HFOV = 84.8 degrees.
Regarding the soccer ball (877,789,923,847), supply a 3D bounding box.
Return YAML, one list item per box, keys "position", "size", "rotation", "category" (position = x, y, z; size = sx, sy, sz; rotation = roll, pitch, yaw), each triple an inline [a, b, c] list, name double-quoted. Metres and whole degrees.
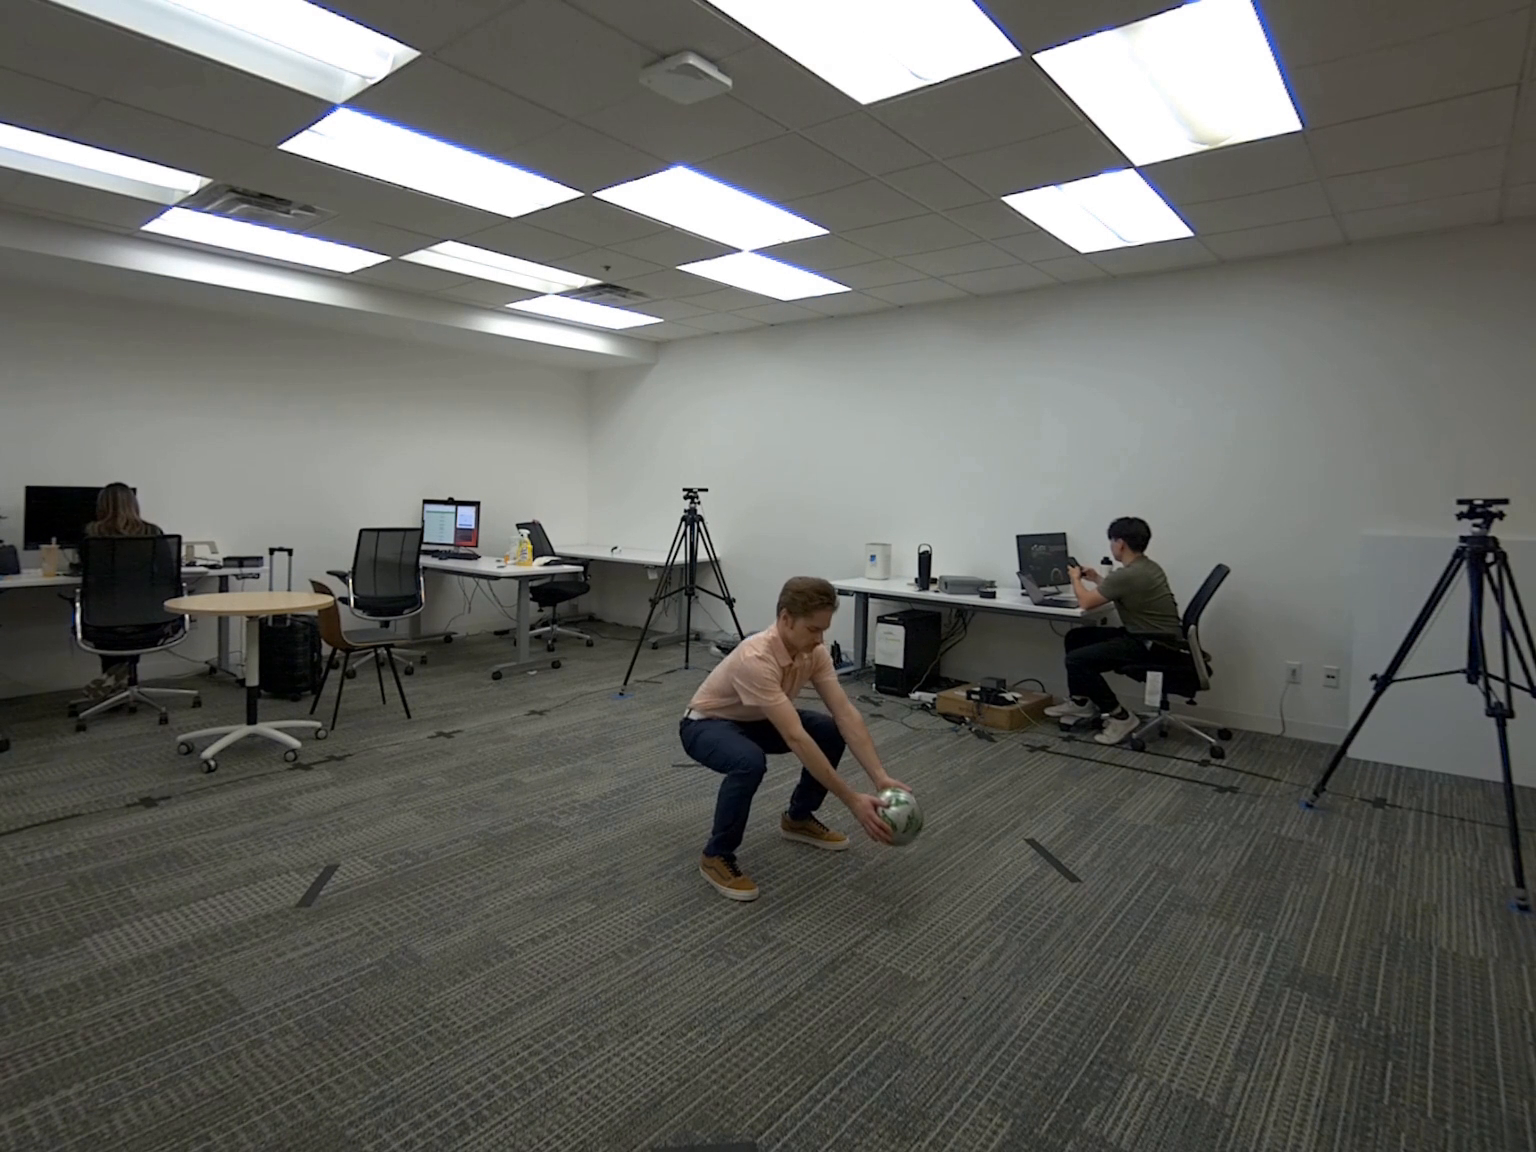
- position: [0.414, 0.800, 2.836]
  size: [0.187, 0.187, 0.188]
  rotation: [1, 4, -2]
  category: "soccer ball"
